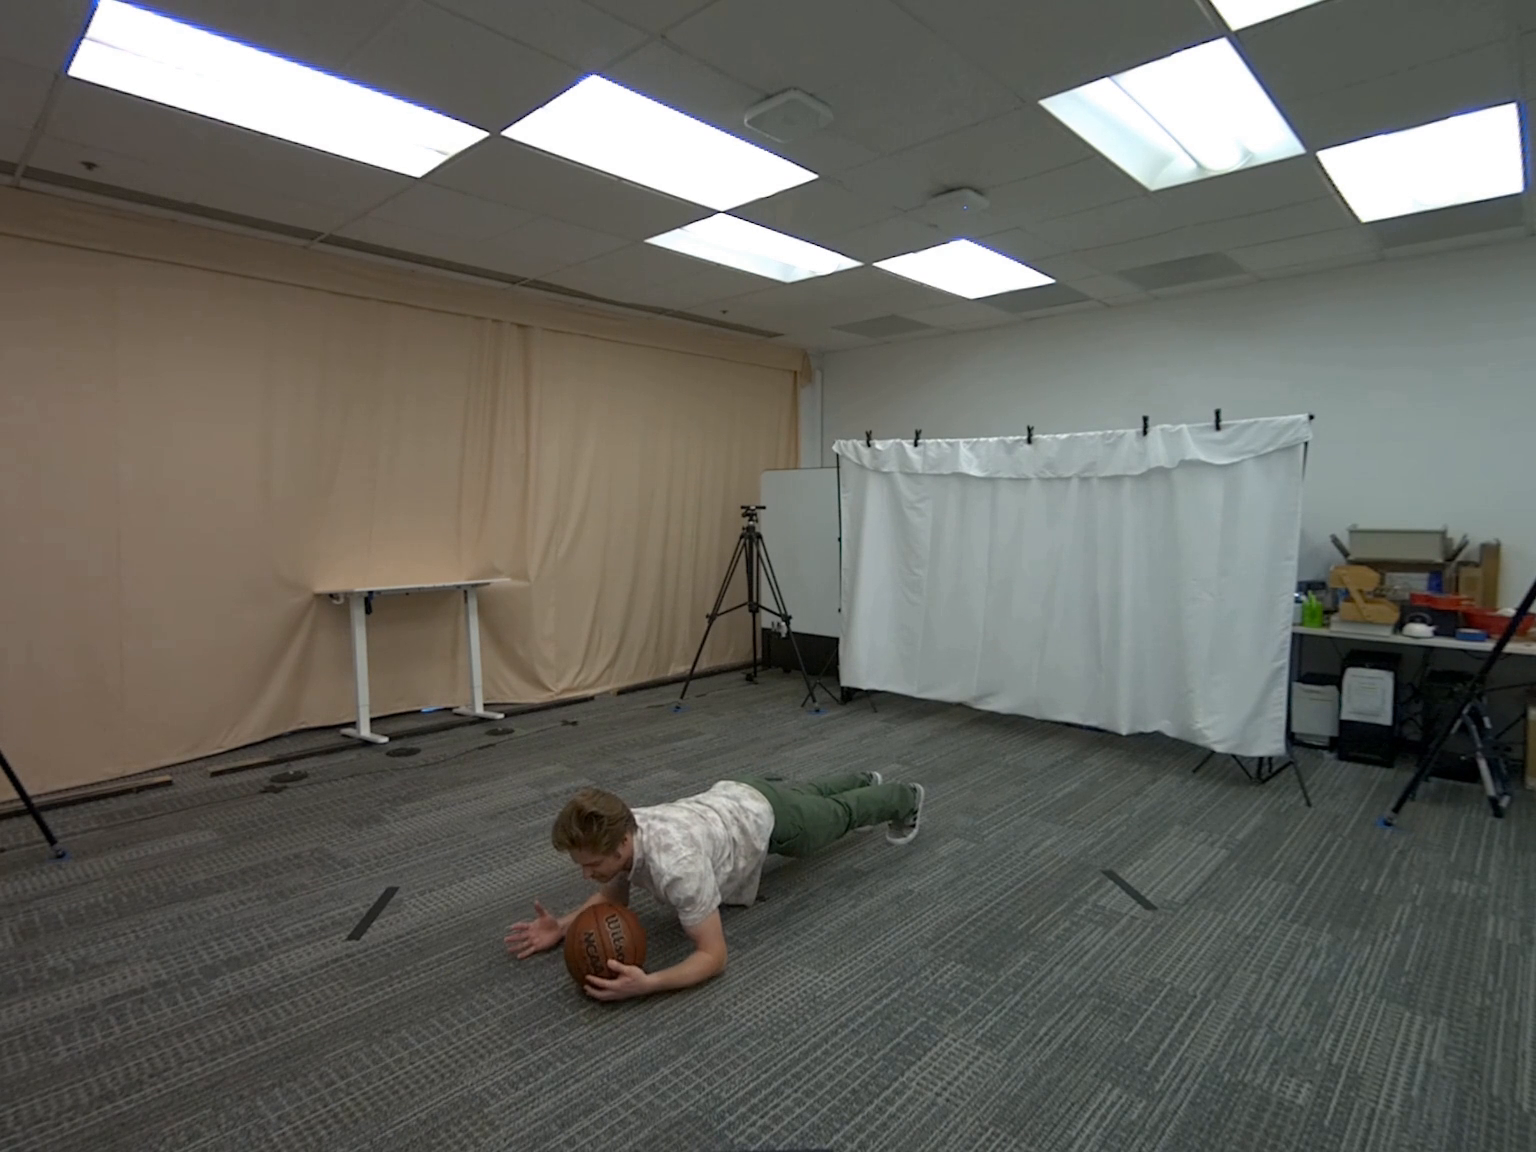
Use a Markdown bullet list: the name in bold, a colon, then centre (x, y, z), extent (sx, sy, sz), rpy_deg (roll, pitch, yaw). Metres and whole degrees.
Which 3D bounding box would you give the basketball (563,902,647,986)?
- **basketball**: centre (-0.473, 1.071, 2.451), extent (0.236, 0.235, 0.237), rpy_deg (0, 4, -2)
